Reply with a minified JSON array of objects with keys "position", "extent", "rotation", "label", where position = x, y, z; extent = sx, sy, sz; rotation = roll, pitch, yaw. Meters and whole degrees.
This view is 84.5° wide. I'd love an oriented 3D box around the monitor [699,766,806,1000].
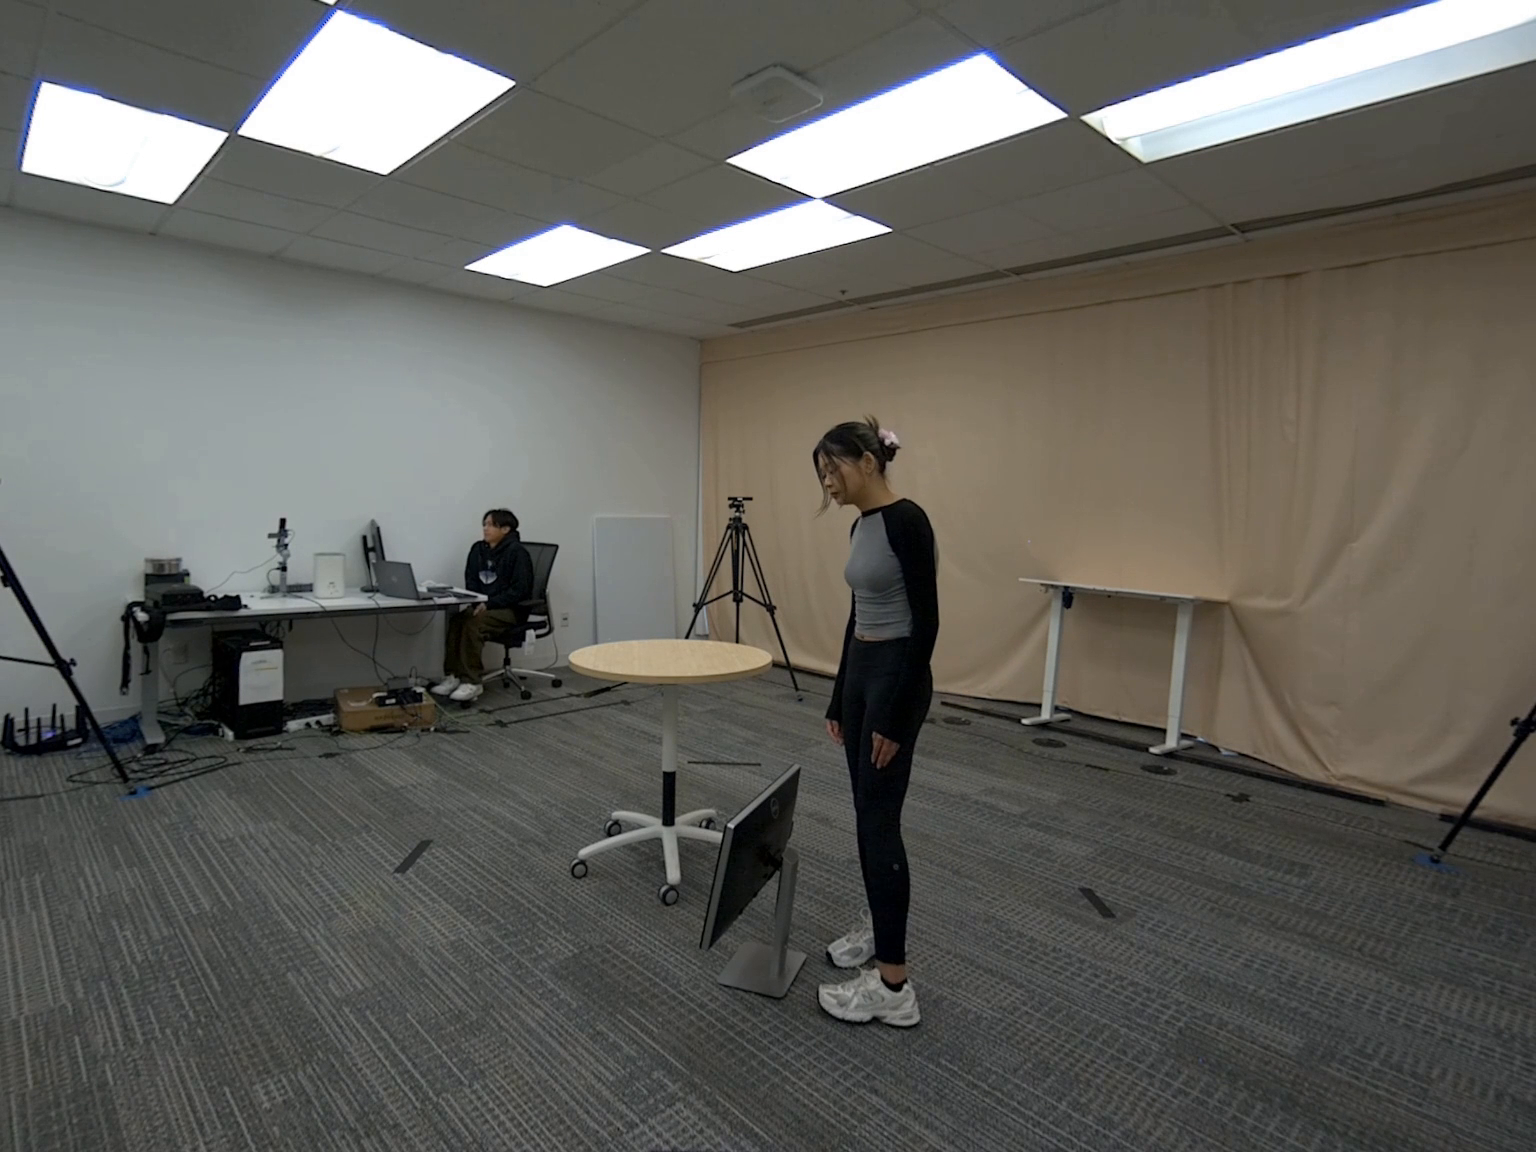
[{"position":[-0.011,0.906,2.467],"extent":[0.190,0.521,0.532],"rotation":[1,5,19],"label":"monitor"}]
